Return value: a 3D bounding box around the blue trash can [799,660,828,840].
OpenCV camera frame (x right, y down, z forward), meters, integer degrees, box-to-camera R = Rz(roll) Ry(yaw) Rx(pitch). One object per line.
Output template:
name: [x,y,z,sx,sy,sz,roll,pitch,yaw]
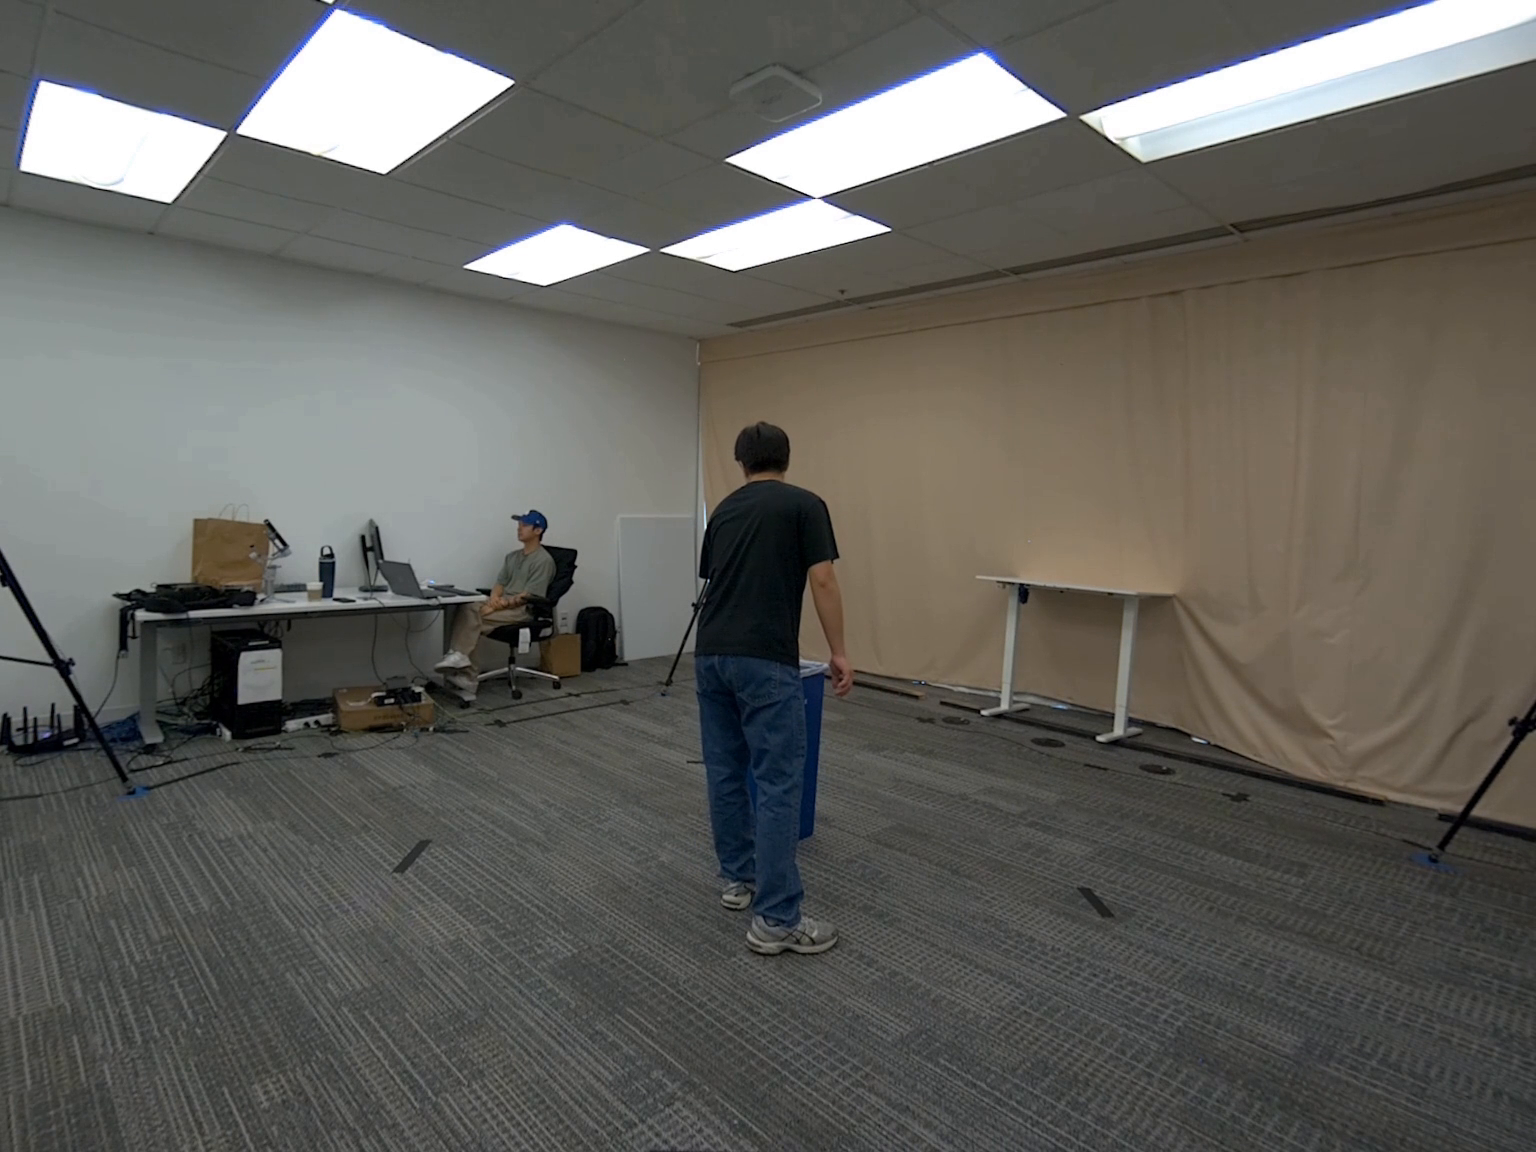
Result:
blue trash can: [-0.003,0.722,3.508,0.388,0.712,0.365,5,4,41]
